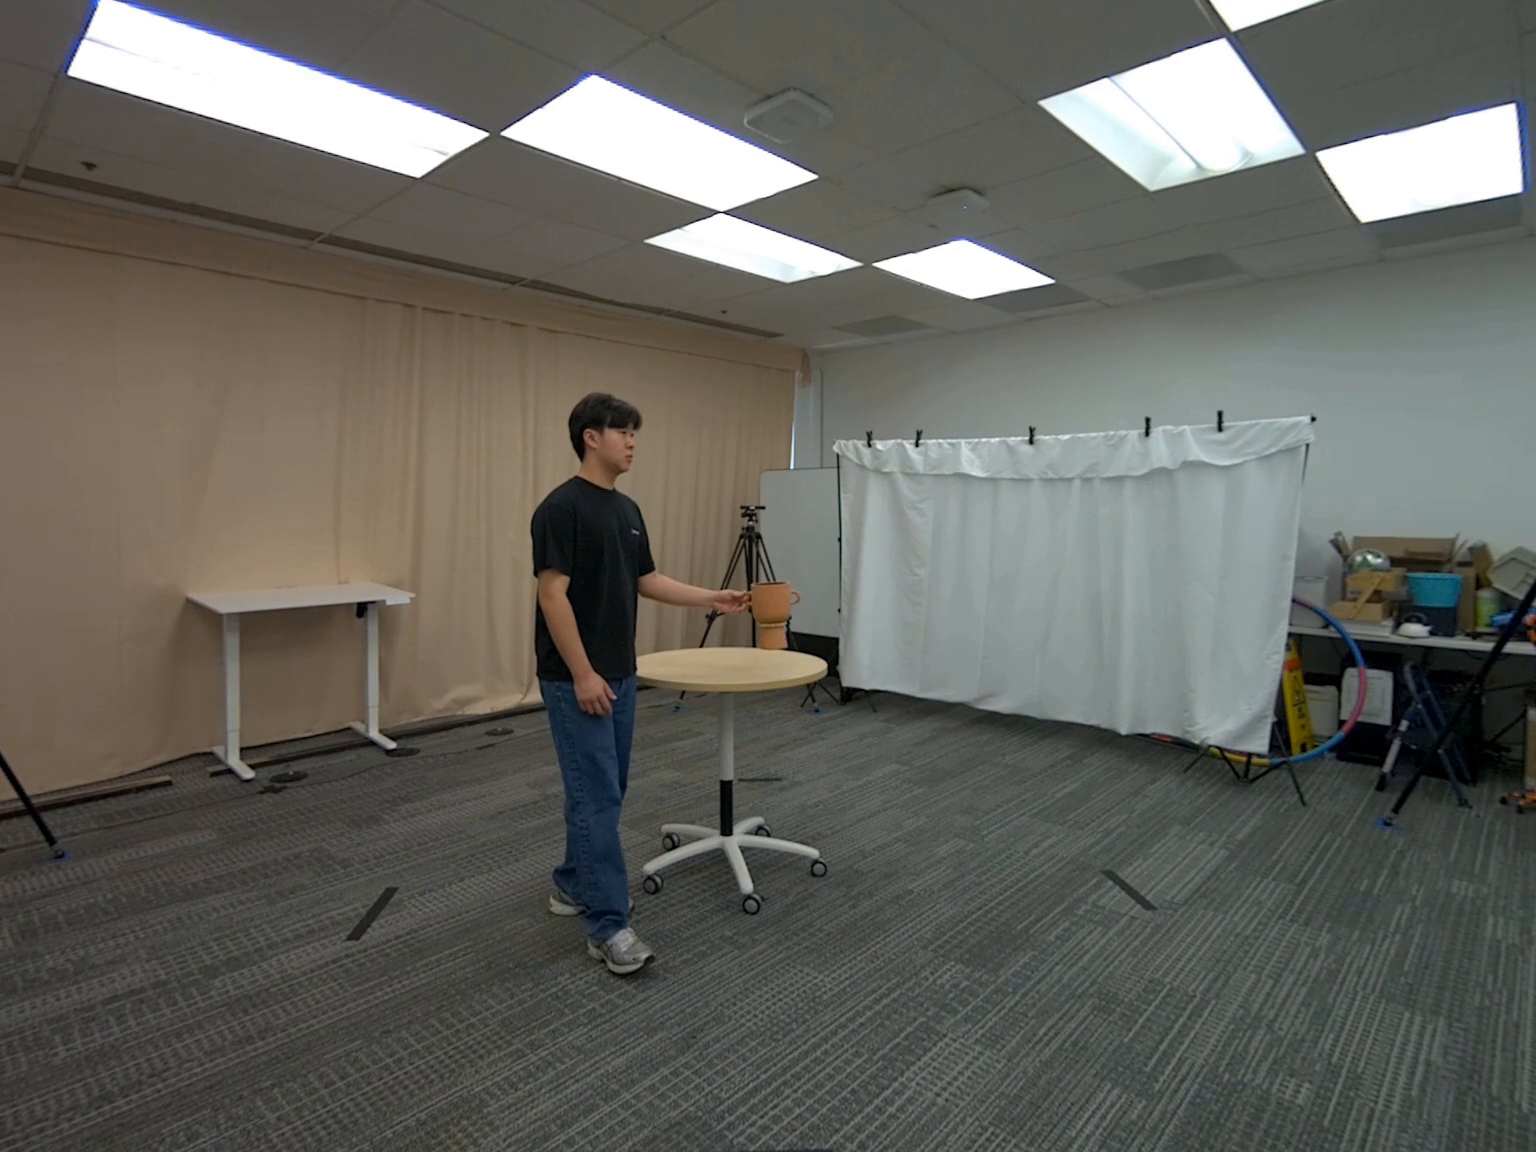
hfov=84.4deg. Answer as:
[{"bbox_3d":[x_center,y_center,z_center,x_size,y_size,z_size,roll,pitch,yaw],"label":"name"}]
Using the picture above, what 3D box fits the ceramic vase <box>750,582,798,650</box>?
[{"bbox_3d":[0.013,0.134,2.863,0.164,0.219,0.130,2,5,43],"label":"ceramic vase"}]
